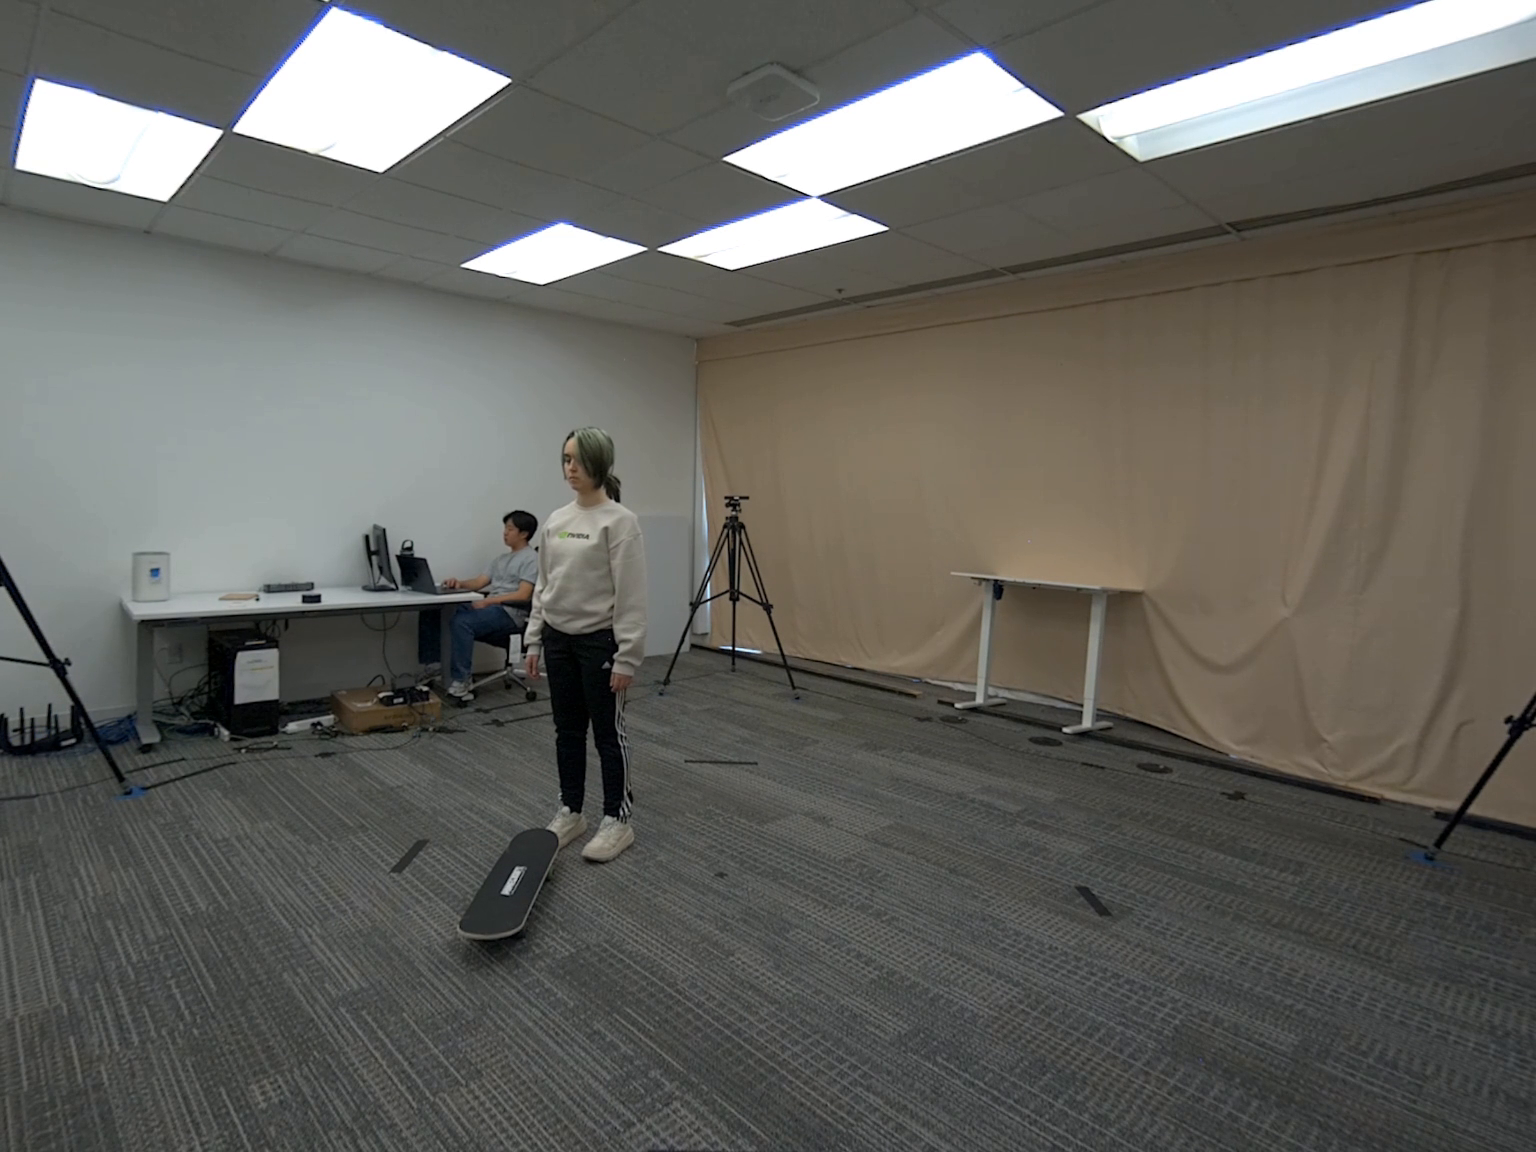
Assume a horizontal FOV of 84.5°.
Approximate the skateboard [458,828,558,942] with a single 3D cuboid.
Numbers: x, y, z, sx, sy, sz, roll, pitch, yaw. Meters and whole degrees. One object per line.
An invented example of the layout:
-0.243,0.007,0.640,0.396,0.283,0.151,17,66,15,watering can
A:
-0.857,1.055,2.833,0.193,0.110,0.789,2,5,-3,skateboard
